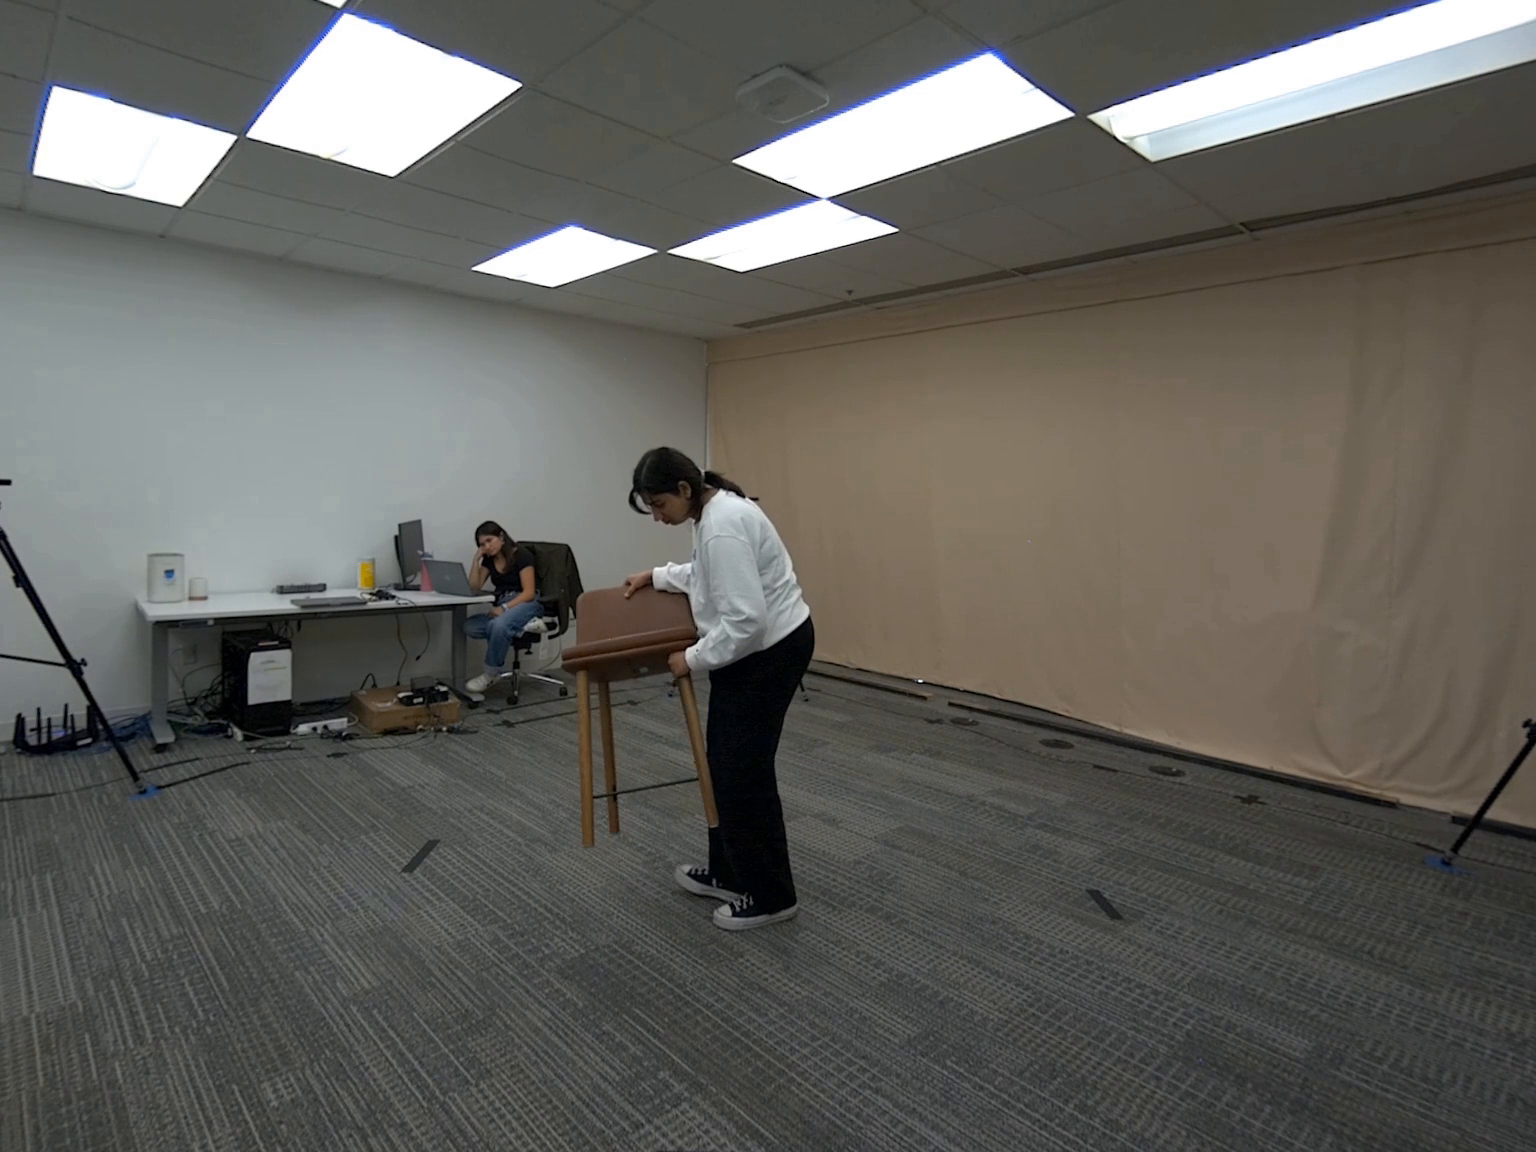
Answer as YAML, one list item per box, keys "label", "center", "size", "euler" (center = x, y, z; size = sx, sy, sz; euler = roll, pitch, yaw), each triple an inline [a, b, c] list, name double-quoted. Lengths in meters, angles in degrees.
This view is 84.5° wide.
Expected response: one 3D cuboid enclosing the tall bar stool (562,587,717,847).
- label: "tall bar stool"
  center: [-0.442, 0.410, 2.824]
  size: [0.456, 0.902, 0.461]
  euler: [-9, -16, -2]
